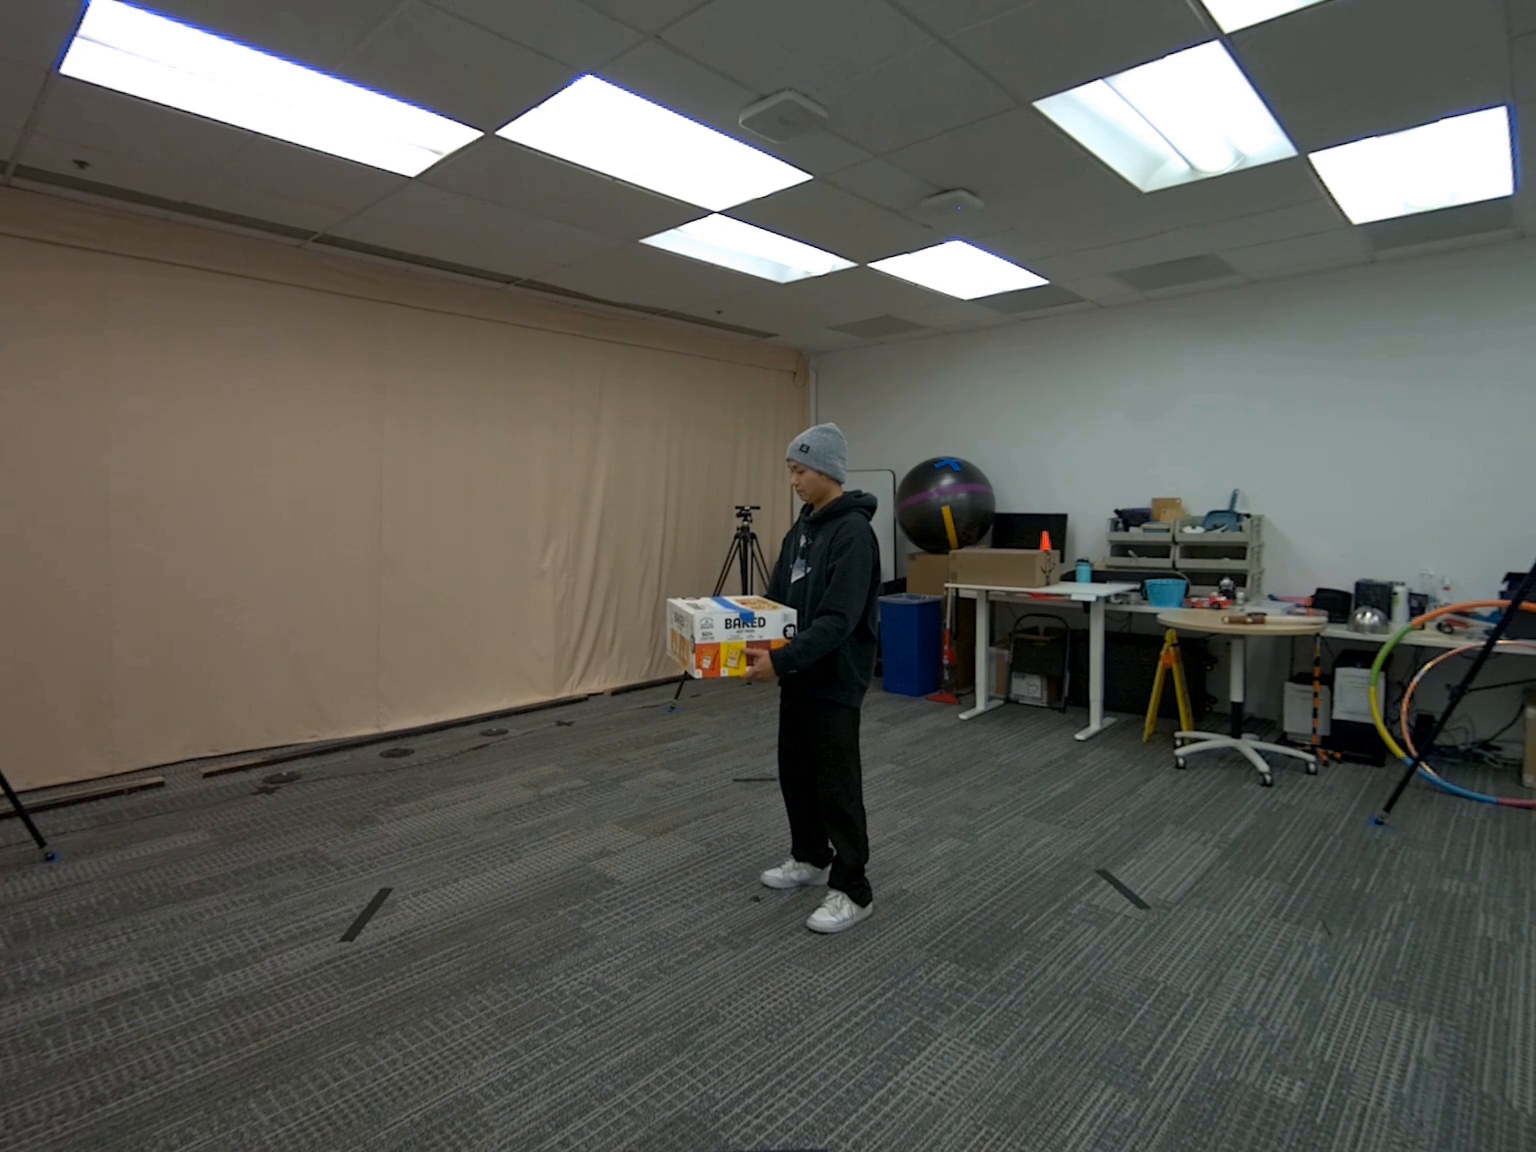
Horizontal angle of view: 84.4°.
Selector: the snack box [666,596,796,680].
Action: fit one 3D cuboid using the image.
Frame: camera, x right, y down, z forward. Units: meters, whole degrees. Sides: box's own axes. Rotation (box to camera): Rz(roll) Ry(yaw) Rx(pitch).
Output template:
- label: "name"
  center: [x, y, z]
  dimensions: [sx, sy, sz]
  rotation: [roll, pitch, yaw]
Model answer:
- label: "snack box"
  center: [-0.134, 0.197, 2.844]
  dimensions: [0.335, 0.205, 0.413]
  rotation: [-1, 5, -17]
